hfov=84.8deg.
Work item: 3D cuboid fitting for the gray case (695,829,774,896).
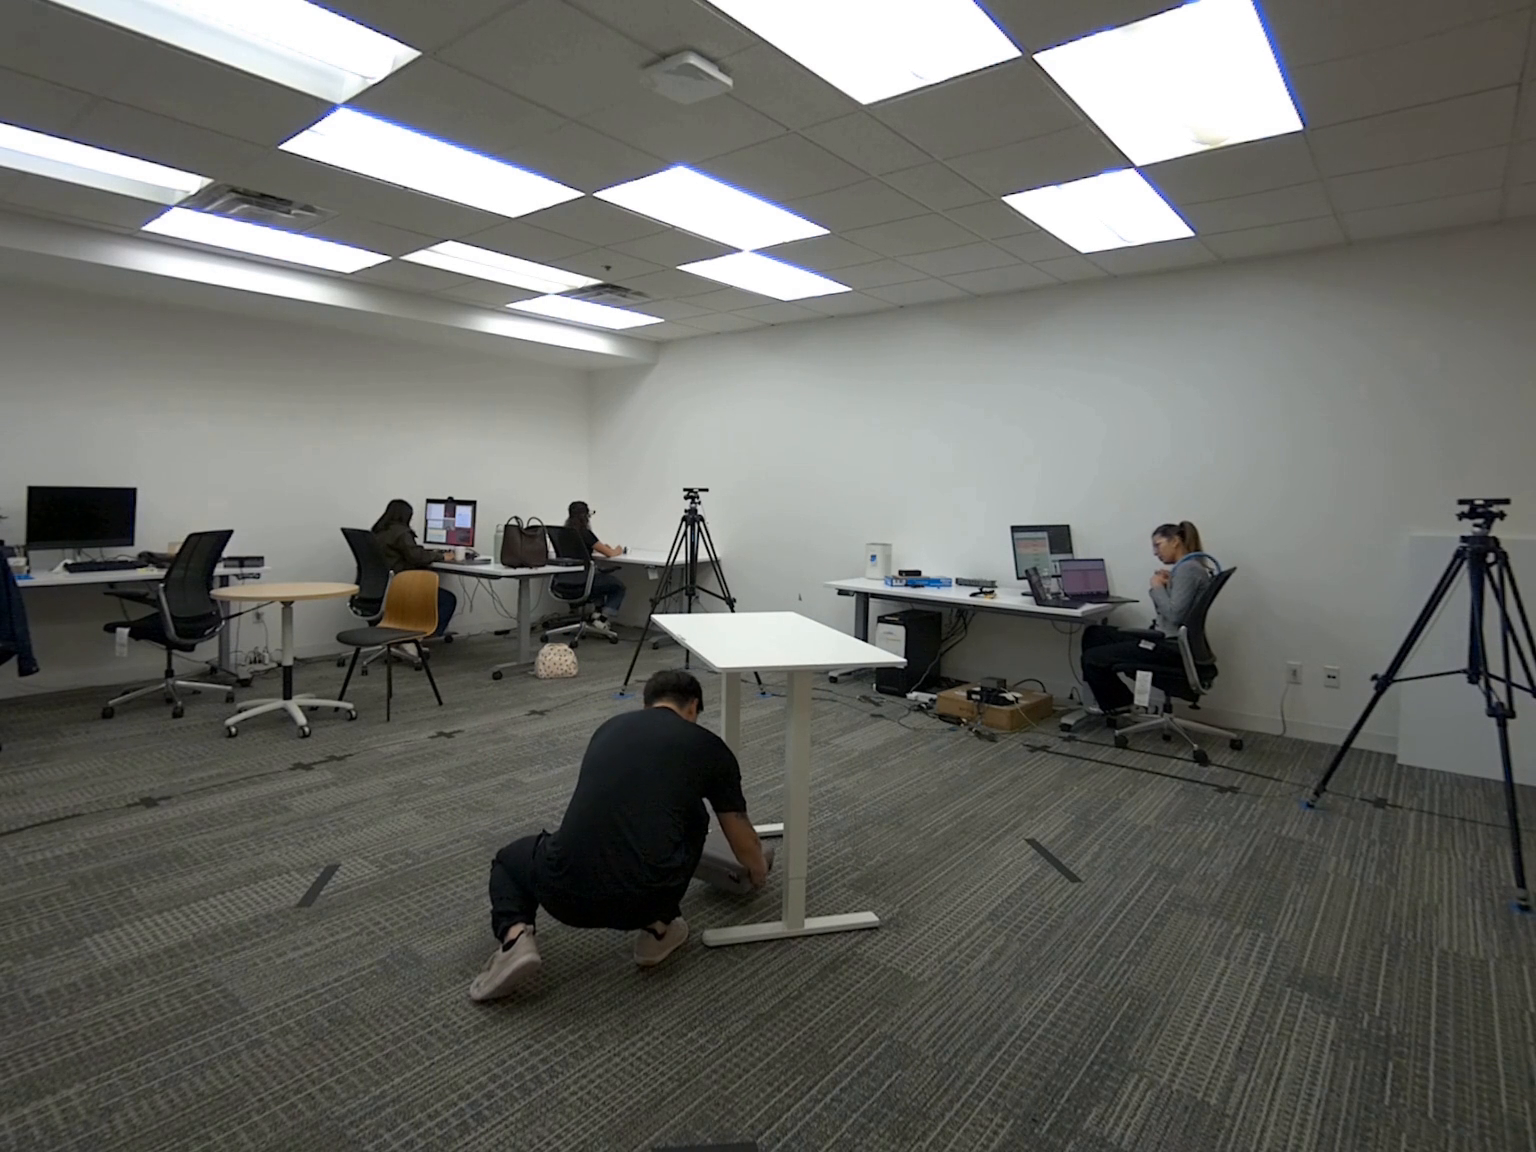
[{"bbox_3d":[-0.142,0.972,2.957,0.264,0.104,0.254,6,6,25],"label":"gray case"}]
